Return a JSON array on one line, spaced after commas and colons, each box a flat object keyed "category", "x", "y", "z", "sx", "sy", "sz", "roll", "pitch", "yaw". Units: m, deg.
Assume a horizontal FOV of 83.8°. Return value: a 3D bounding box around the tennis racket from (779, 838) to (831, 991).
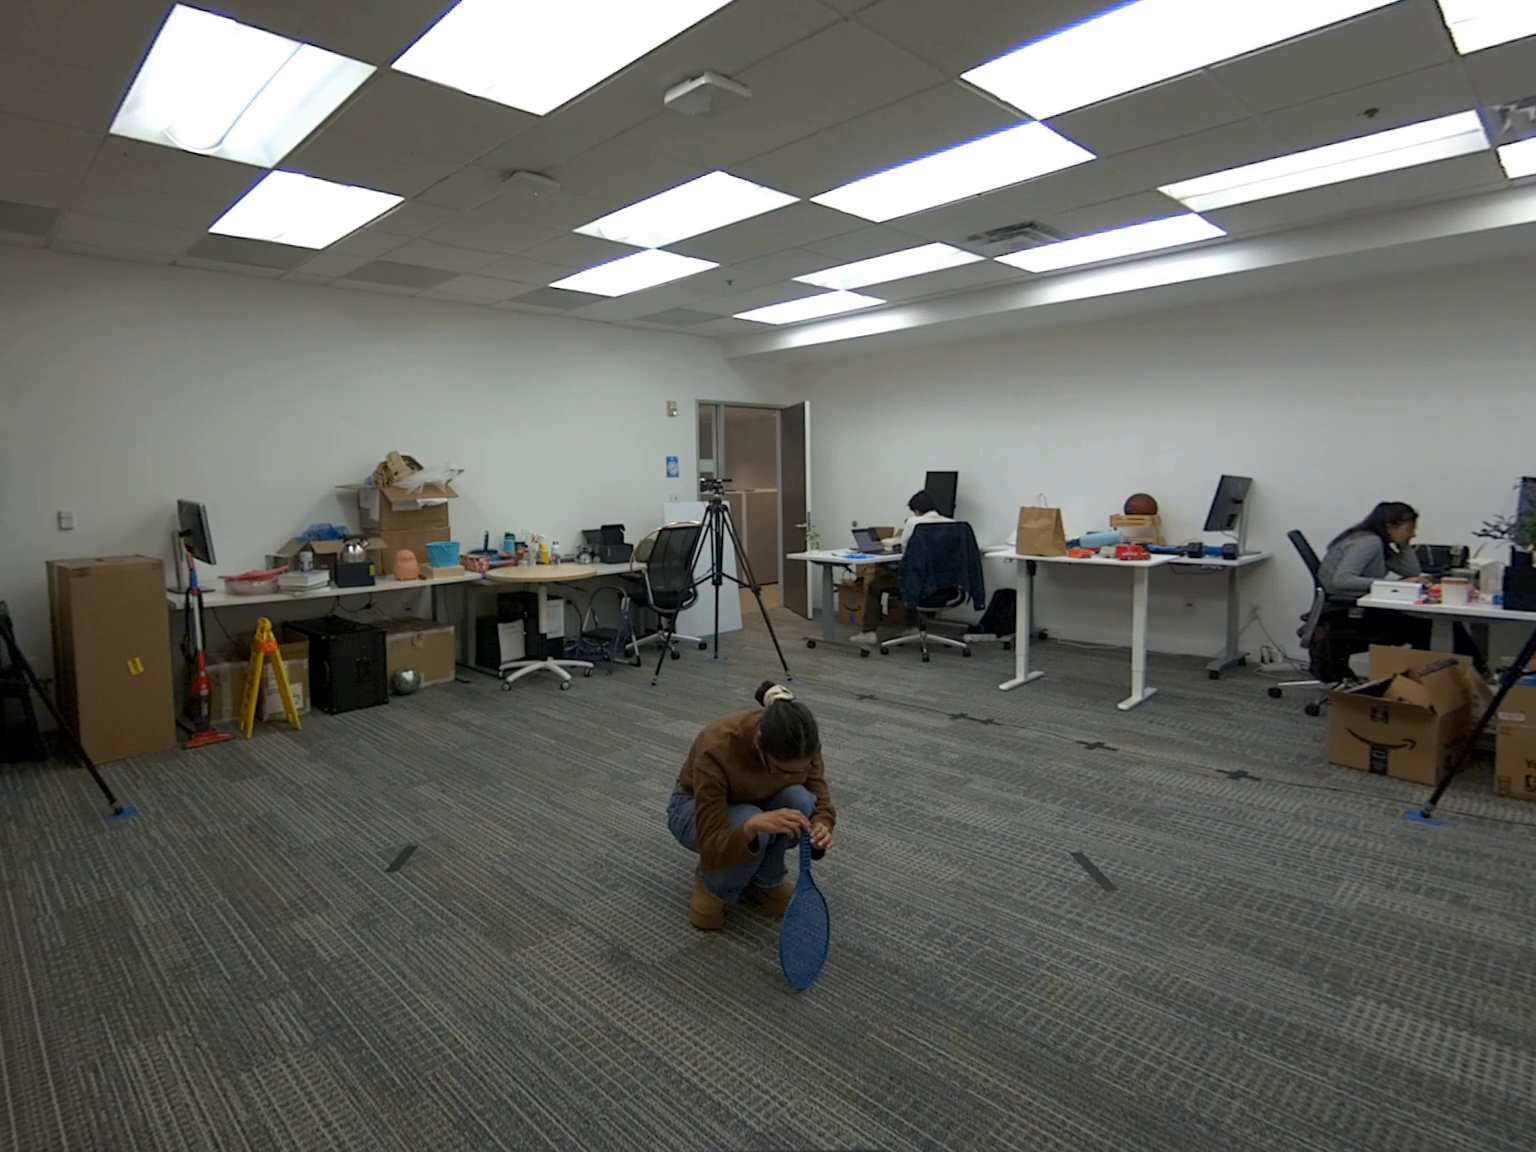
[{"category": "tennis racket", "x": 0.095, "y": 0.917, "z": 2.368, "sx": 0.032, "sy": 0.435, "sz": 0.207, "roll": -9, "pitch": -7, "yaw": 37}]
